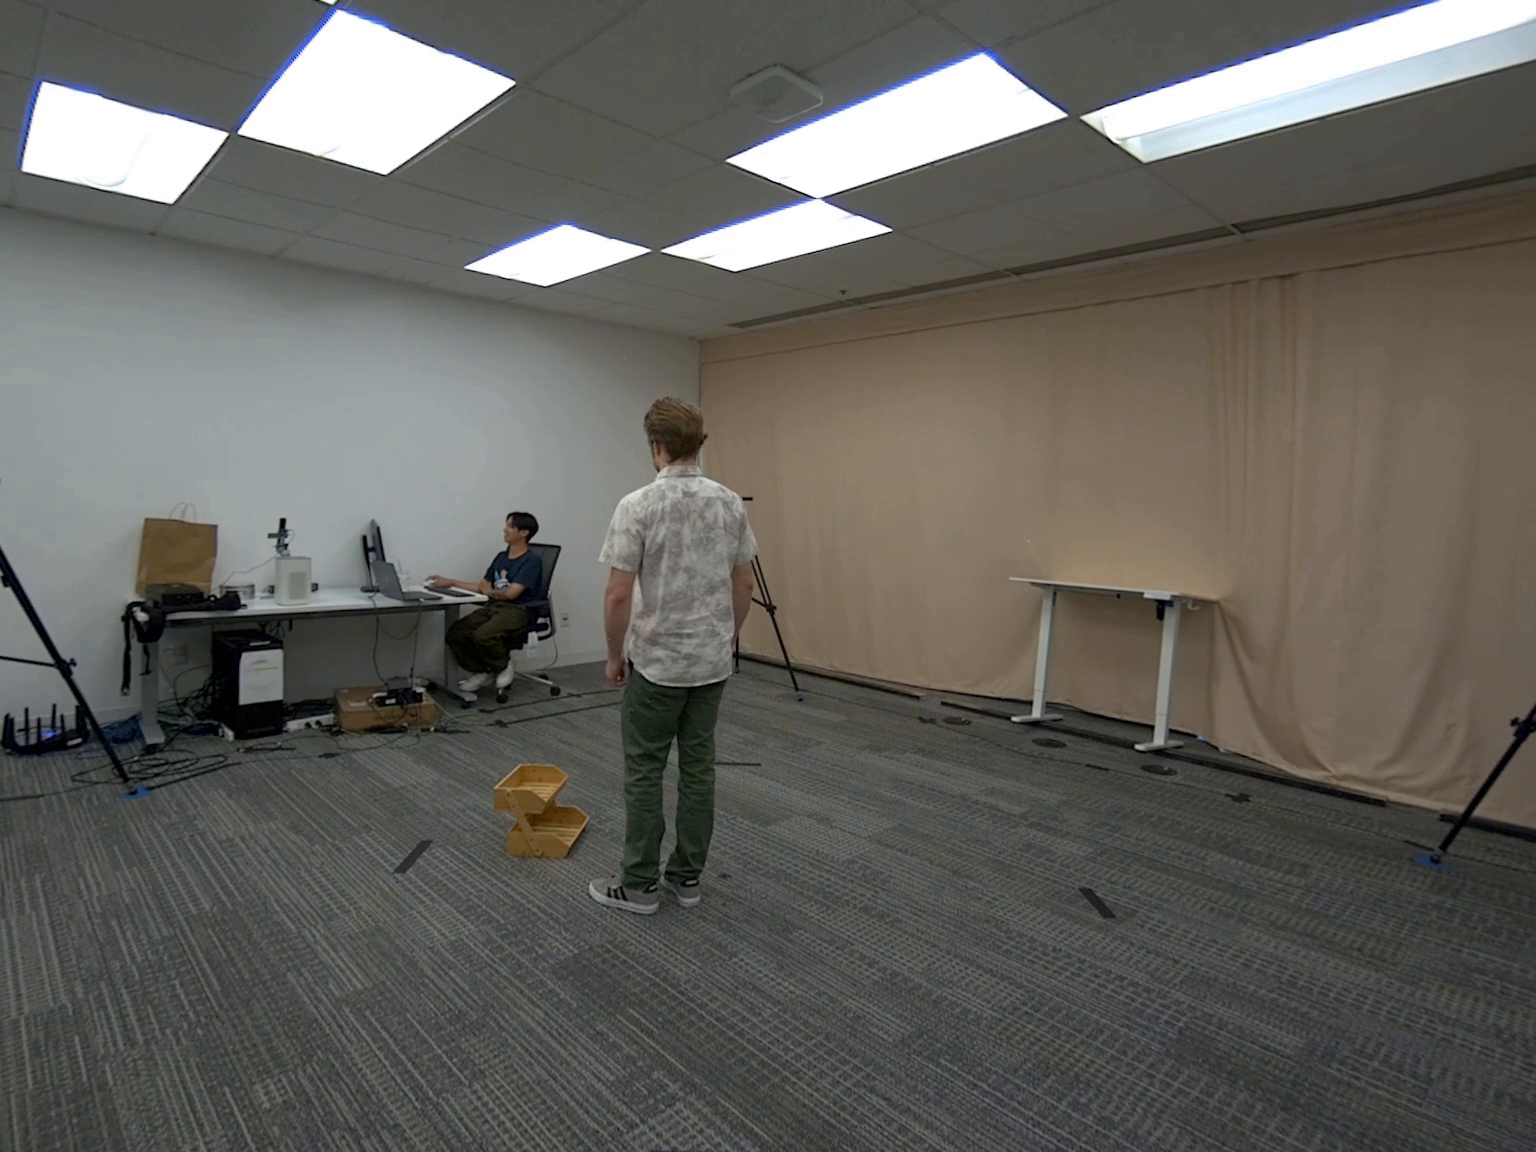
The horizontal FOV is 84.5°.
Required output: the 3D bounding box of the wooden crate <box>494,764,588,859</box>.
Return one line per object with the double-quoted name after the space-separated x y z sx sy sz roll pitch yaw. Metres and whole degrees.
-0.907 0.933 3.377 0.303 0.272 0.324 1 4 3 "wooden crate"
